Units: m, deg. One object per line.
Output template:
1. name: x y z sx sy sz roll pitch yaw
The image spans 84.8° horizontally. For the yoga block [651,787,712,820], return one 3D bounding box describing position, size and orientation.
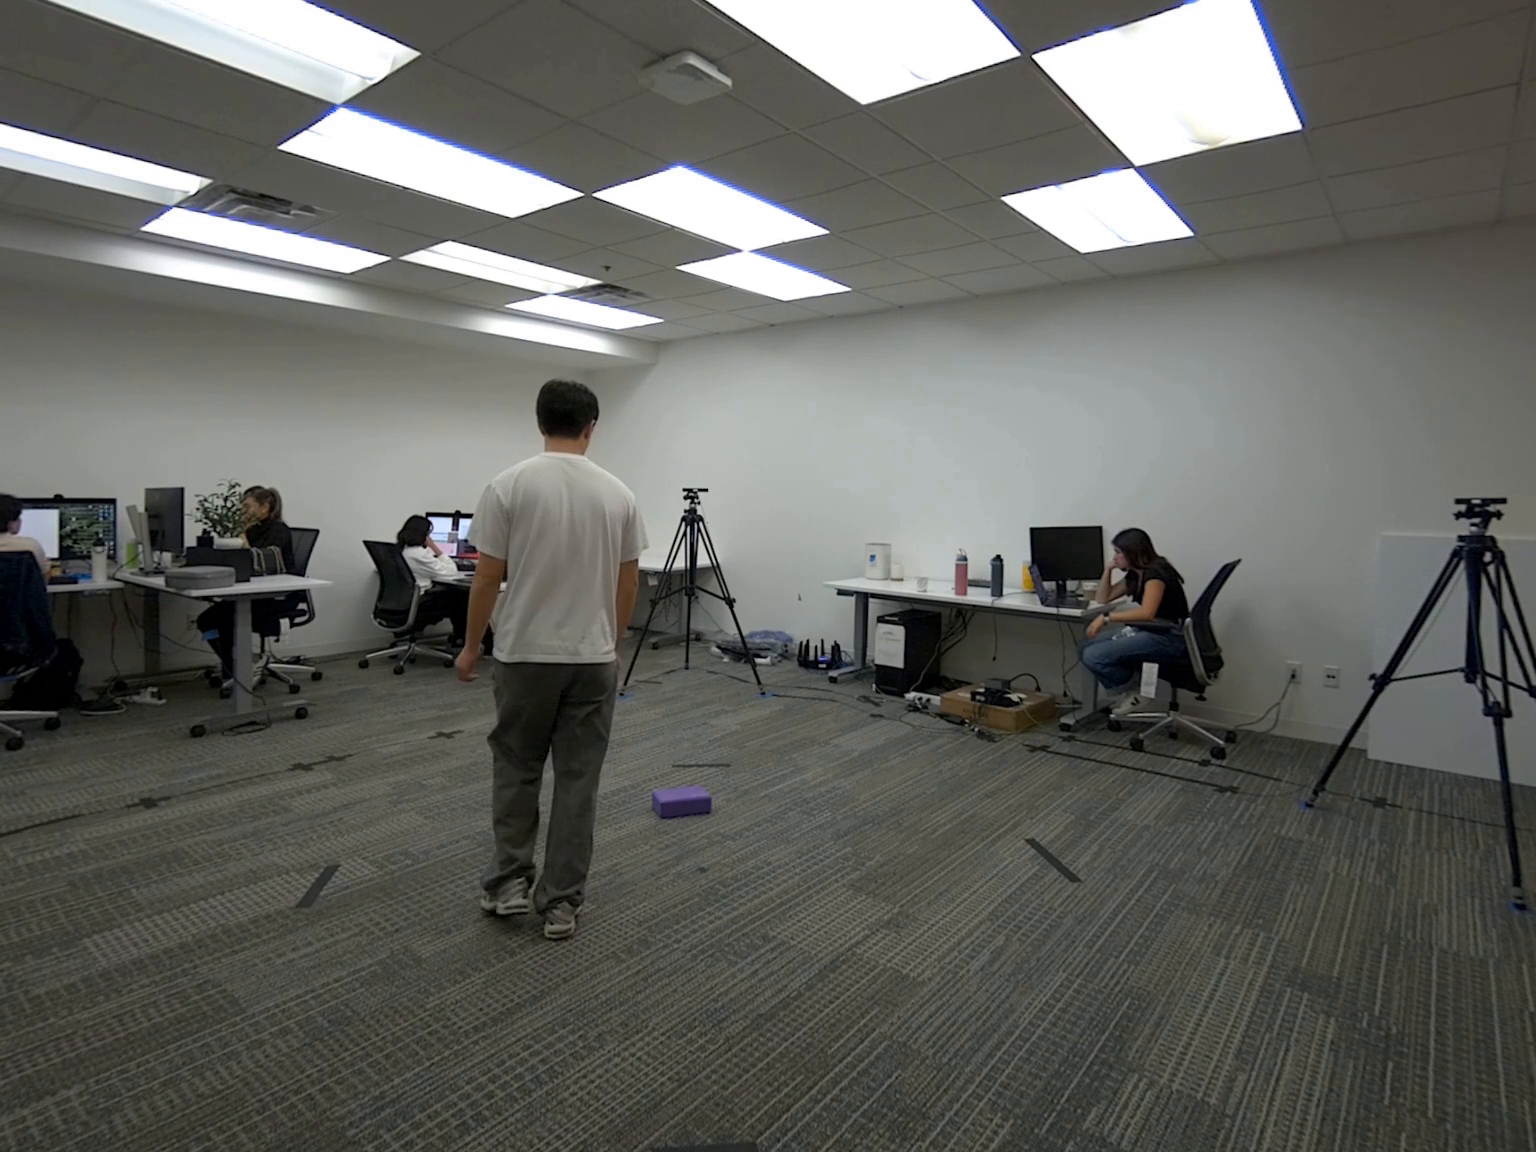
1. yoga block: -0.372 0.966 3.683 0.225 0.076 0.153 -2 6 -20
